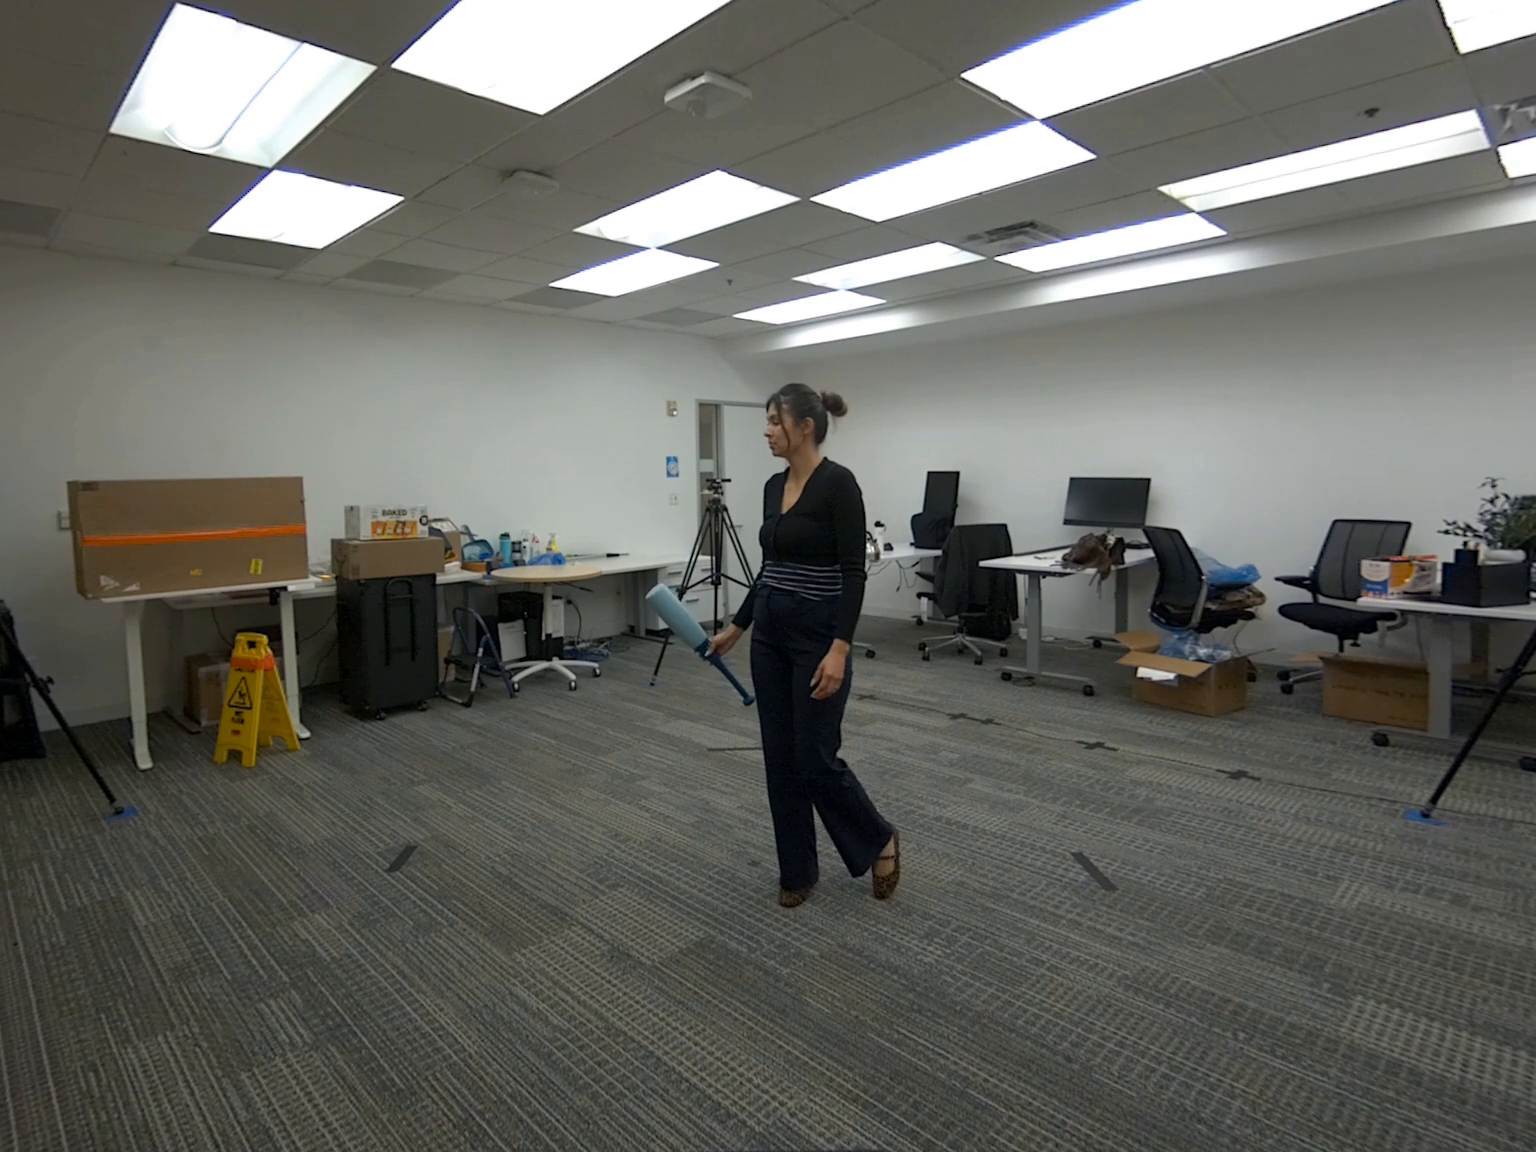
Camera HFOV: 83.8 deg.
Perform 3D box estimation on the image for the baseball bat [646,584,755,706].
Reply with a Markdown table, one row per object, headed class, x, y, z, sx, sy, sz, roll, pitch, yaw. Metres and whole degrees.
| class | x | y | z | sx | sy | sz | roll | pitch | yaw |
| --- | --- | --- | --- | --- | --- | --- | --- | --- | --- |
| baseball bat | -0.229 | 0.238 | 3.000 | 0.089 | 0.536 | 0.090 | -38 | 10 | 7 |
